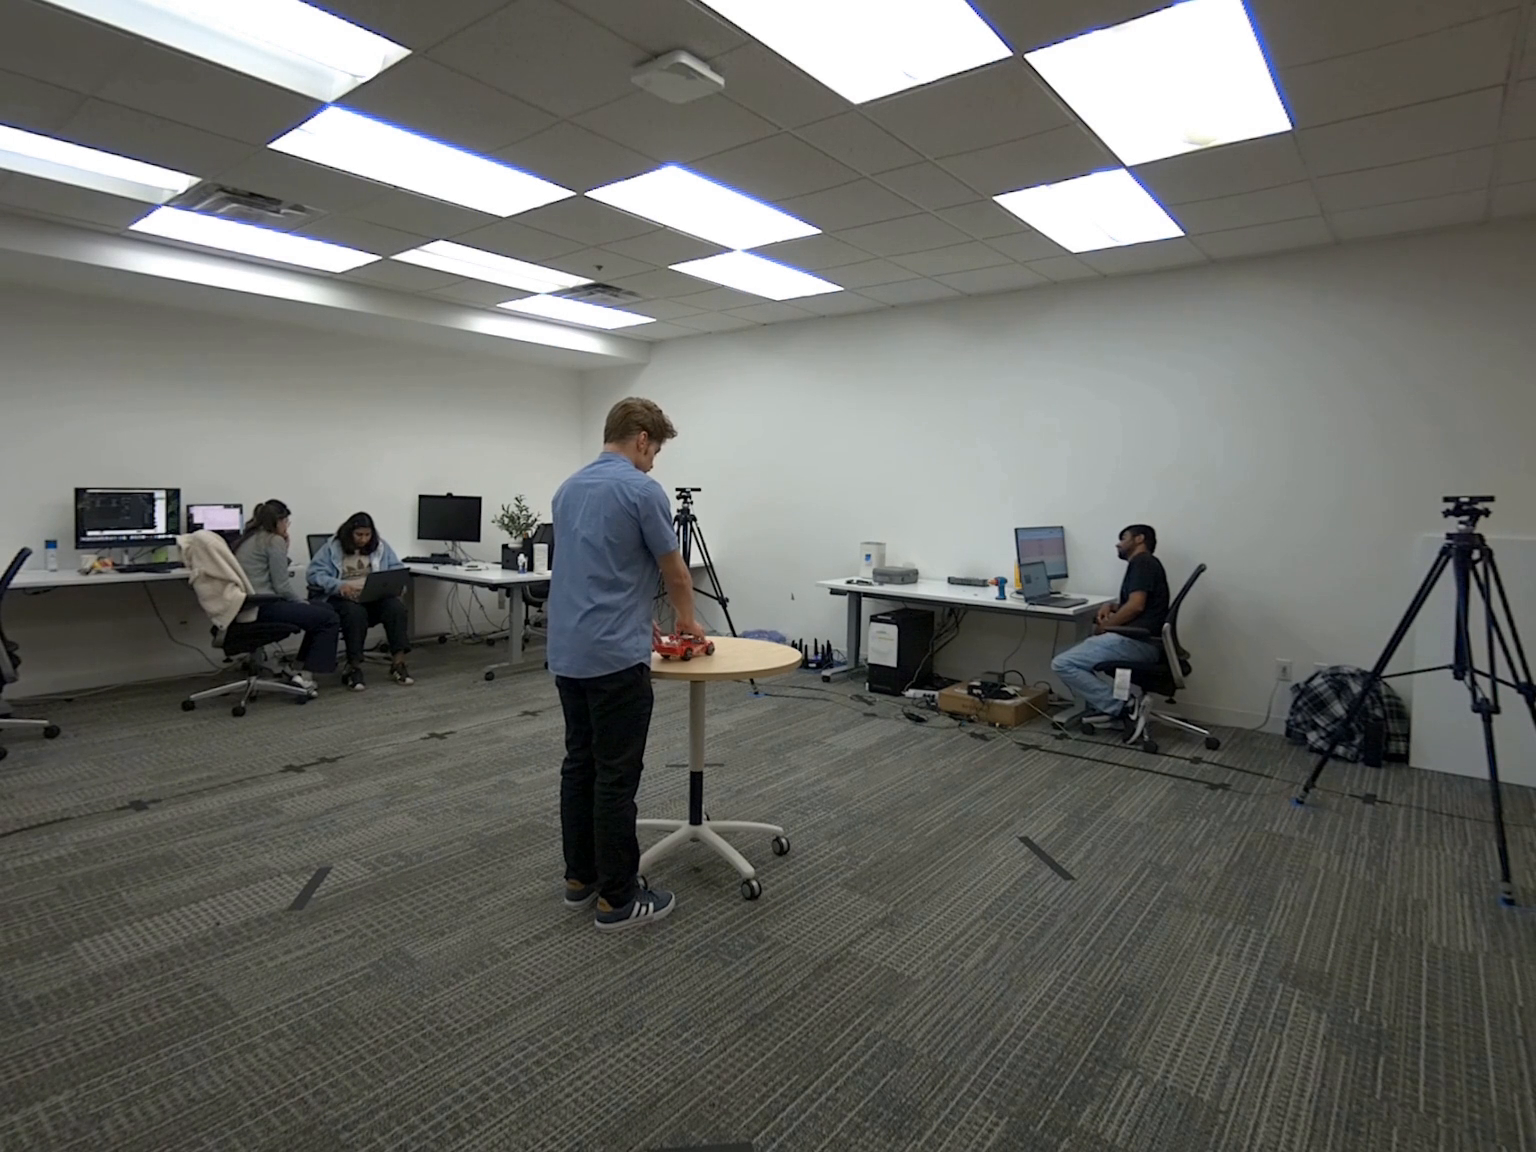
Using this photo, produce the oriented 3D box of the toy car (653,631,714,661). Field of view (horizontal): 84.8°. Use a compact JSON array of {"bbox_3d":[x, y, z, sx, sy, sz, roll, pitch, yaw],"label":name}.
[{"bbox_3d":[-0.307,0.258,3.050,0.134,0.083,0.246,4,-5,30],"label":"toy car"}]
